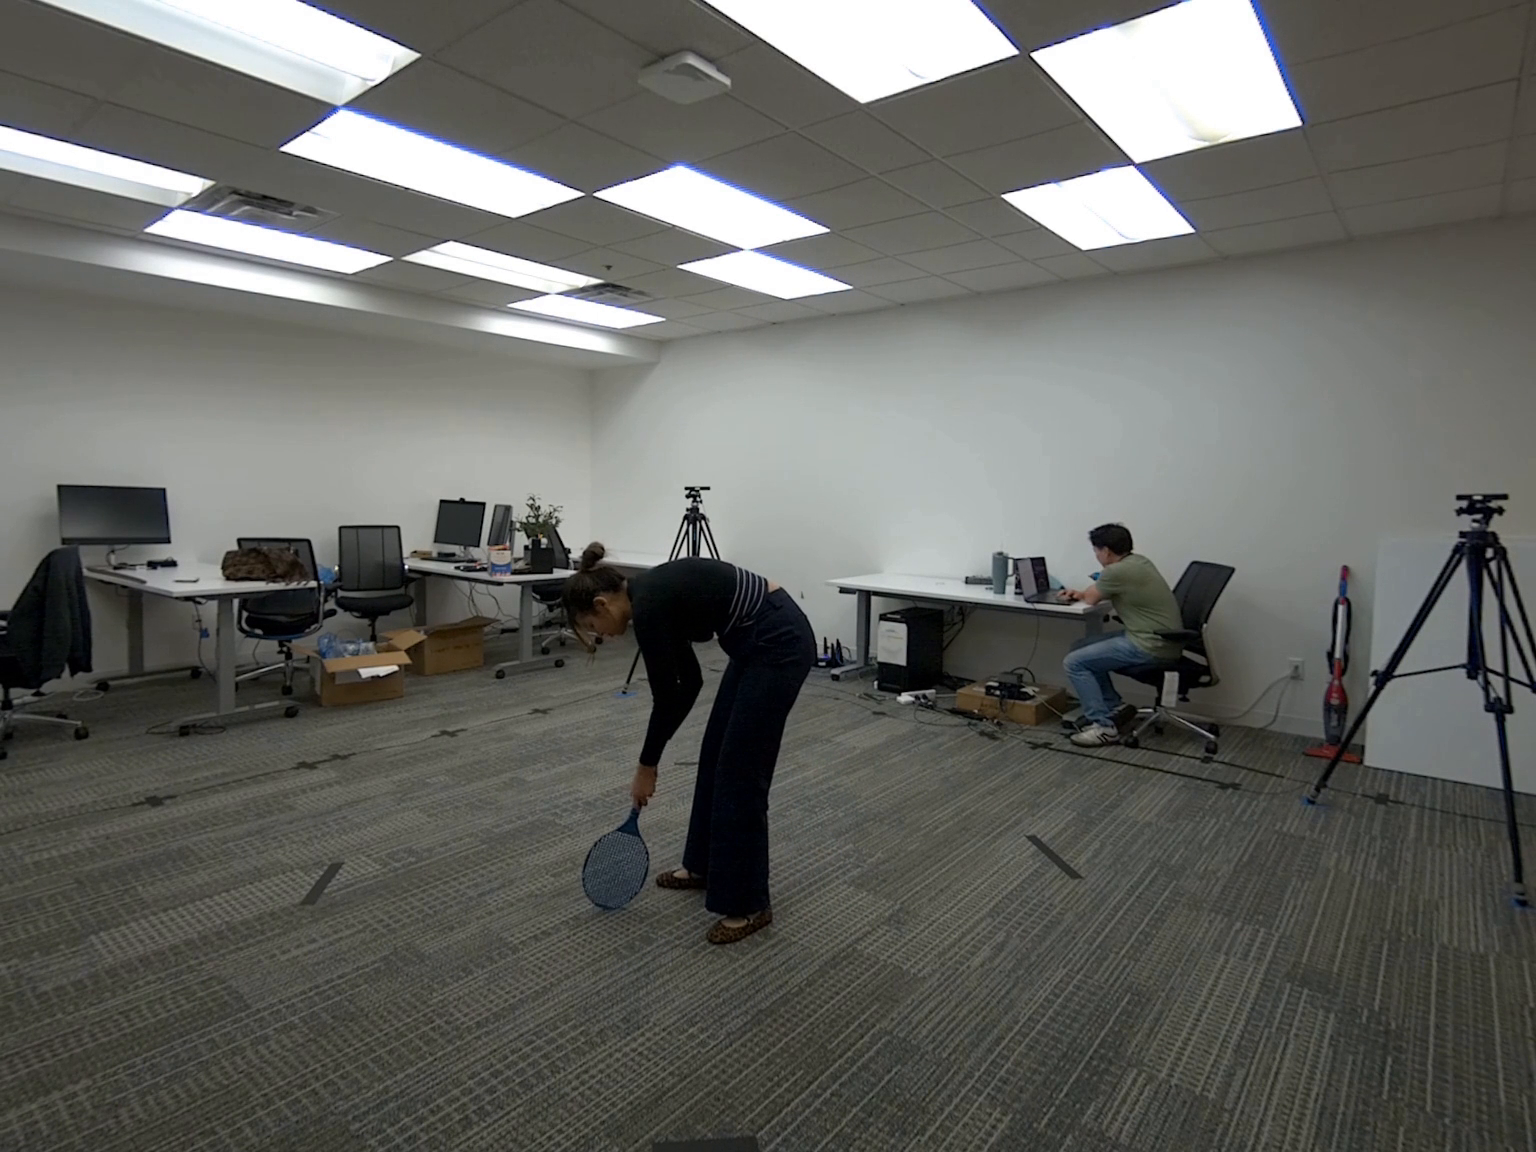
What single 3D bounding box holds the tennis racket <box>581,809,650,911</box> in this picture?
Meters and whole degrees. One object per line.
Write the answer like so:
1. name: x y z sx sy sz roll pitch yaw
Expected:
1. tennis racket: -0.485 0.884 2.800 0.211 0.433 0.032 19 -1 -10
